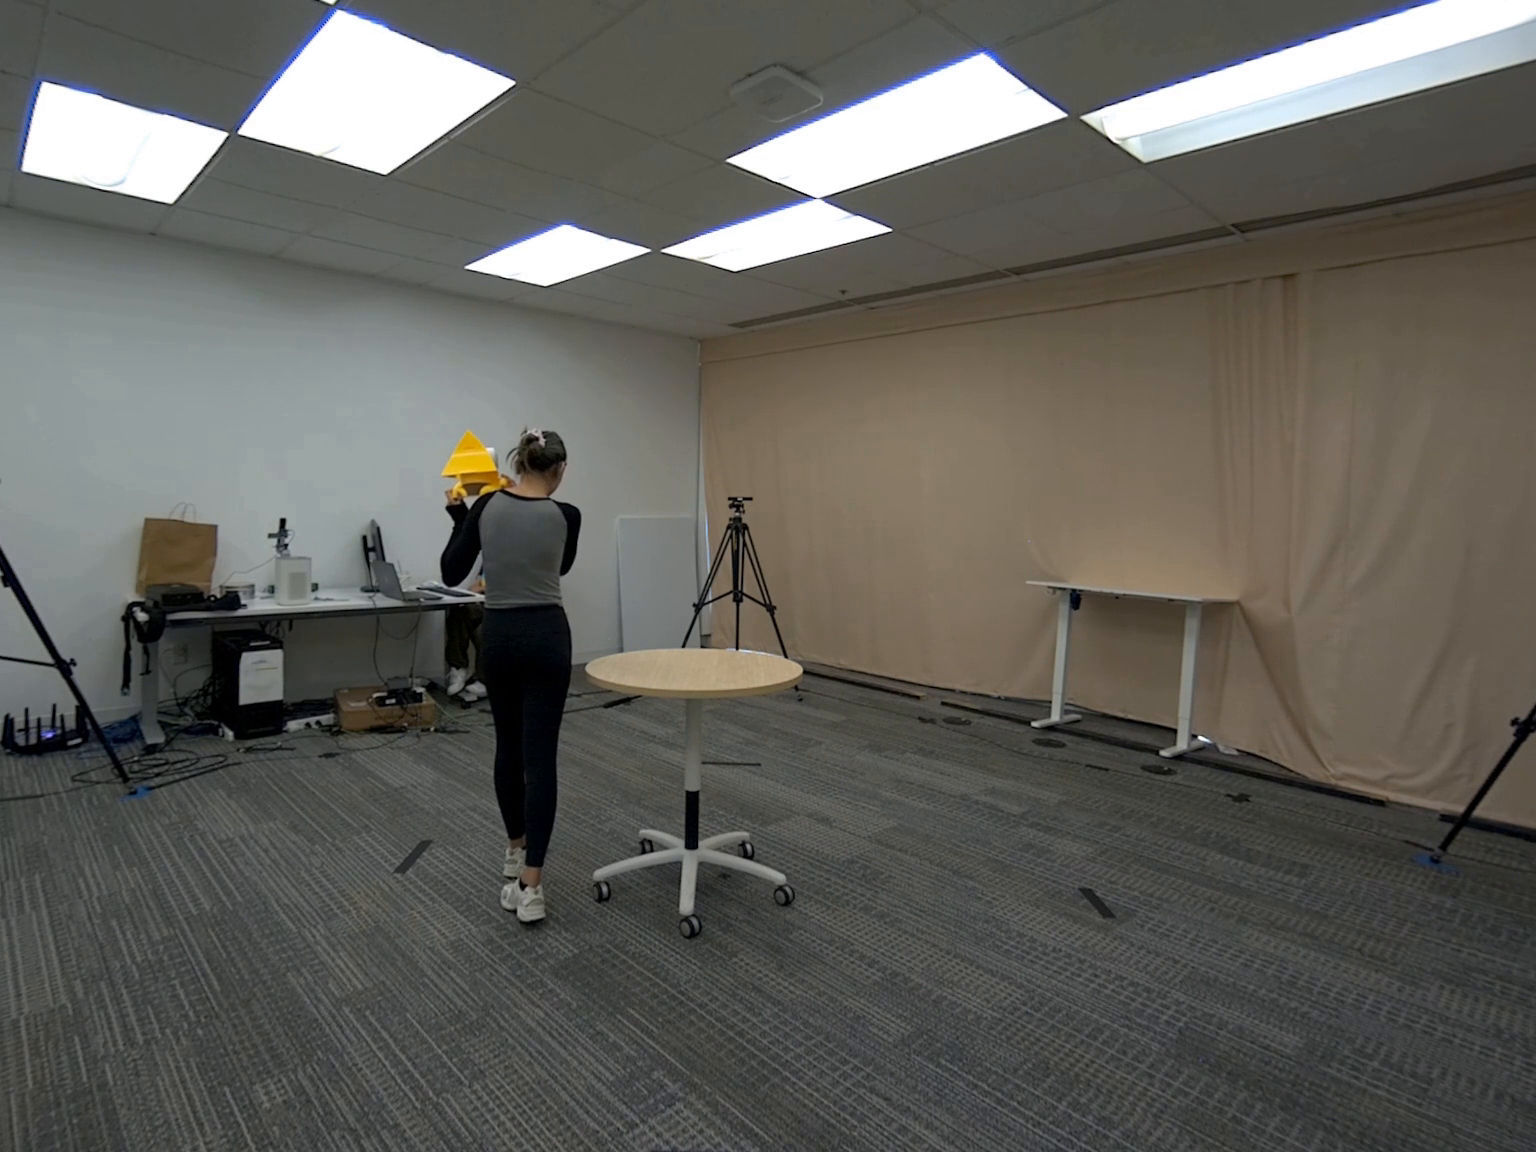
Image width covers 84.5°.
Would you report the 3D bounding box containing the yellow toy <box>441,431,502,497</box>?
[{"bbox_3d":[-1.039,-0.402,3.008,0.205,0.230,0.193,-4,5,4],"label":"yellow toy"}]
